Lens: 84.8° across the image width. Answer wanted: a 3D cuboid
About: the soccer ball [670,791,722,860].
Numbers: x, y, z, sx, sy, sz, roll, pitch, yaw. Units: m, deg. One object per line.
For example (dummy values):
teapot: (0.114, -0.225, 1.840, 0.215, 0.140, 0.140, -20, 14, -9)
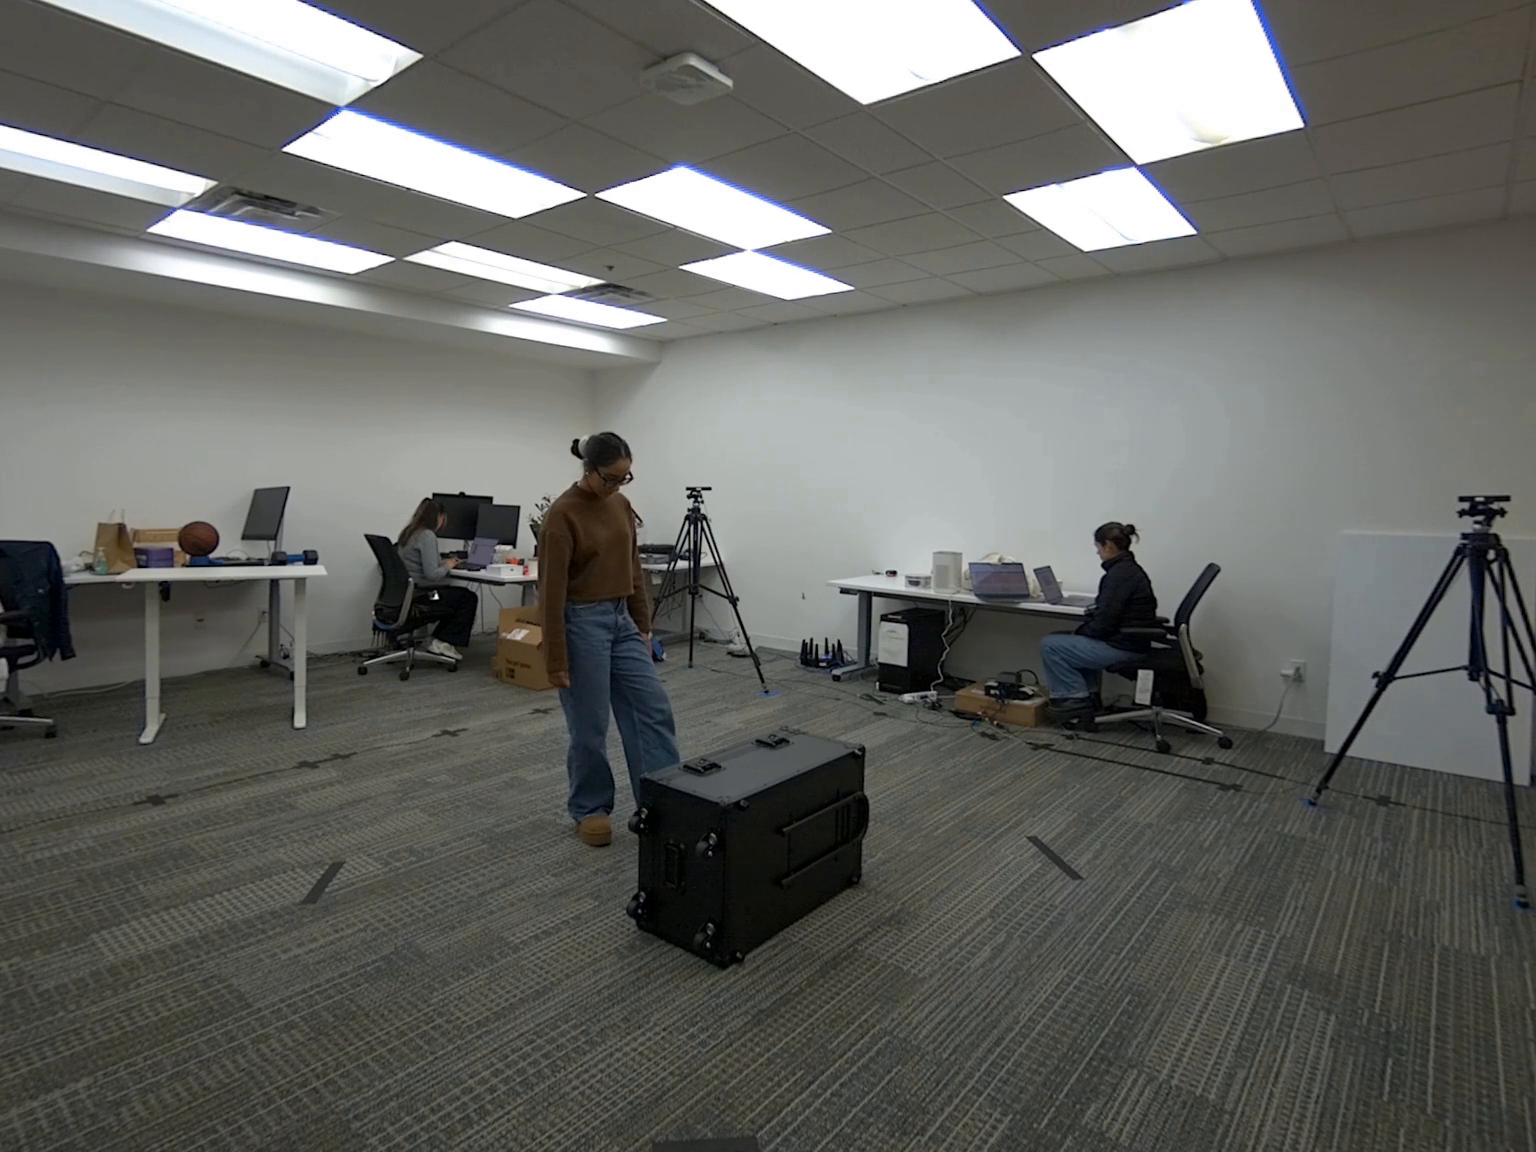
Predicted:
soccer ball: (-0.276, 0.952, 3.230, 0.187, 0.187, 0.188, 1, 4, -2)
